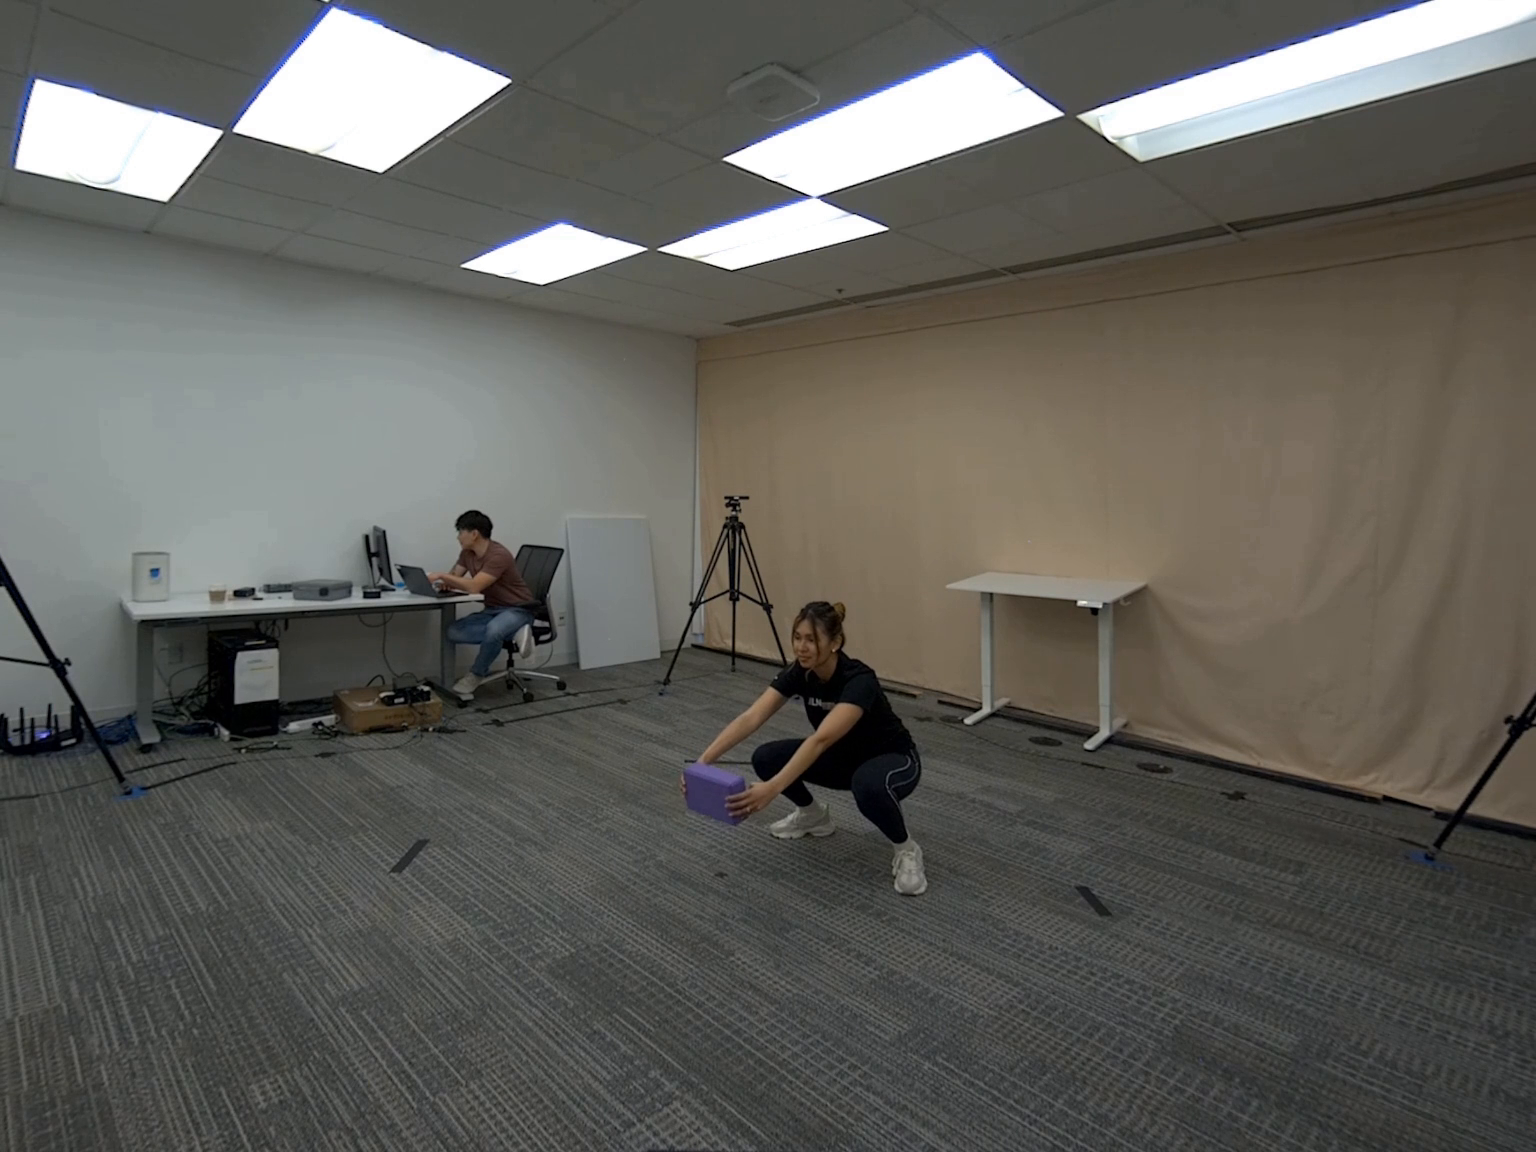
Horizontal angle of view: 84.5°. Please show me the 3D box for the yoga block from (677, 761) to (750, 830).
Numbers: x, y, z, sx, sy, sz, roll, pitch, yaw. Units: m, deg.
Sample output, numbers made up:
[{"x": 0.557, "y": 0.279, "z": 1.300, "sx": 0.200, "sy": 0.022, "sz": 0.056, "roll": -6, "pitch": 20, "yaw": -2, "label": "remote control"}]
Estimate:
[{"x": -0.181, "y": 0.715, "z": 2.774, "sx": 0.235, "sy": 0.148, "sz": 0.075, "roll": 3, "pitch": 13, "yaw": 40, "label": "yoga block"}]
